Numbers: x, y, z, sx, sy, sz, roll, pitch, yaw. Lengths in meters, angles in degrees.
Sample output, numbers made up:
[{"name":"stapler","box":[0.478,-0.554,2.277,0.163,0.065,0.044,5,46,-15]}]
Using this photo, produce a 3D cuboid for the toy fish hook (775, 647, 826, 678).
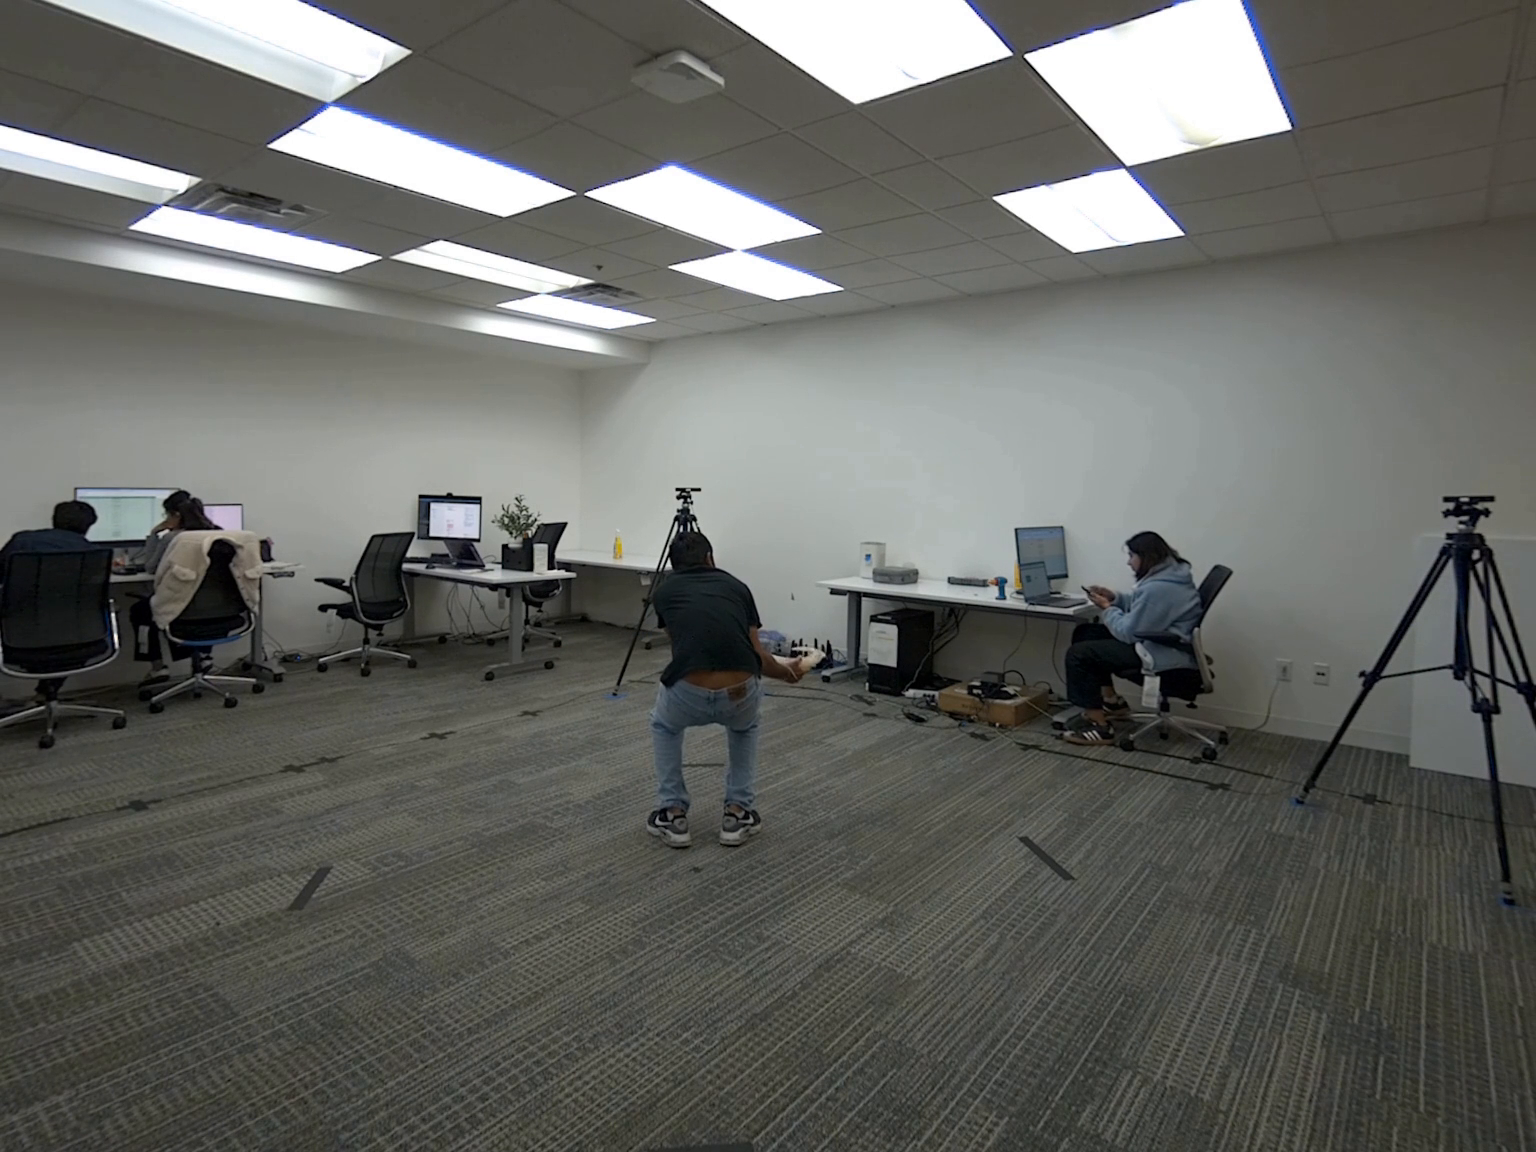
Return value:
[{"name":"toy fish hook","box":[-0.004,0.355,3.891,0.523,0.048,0.220,4,15,34]}]
